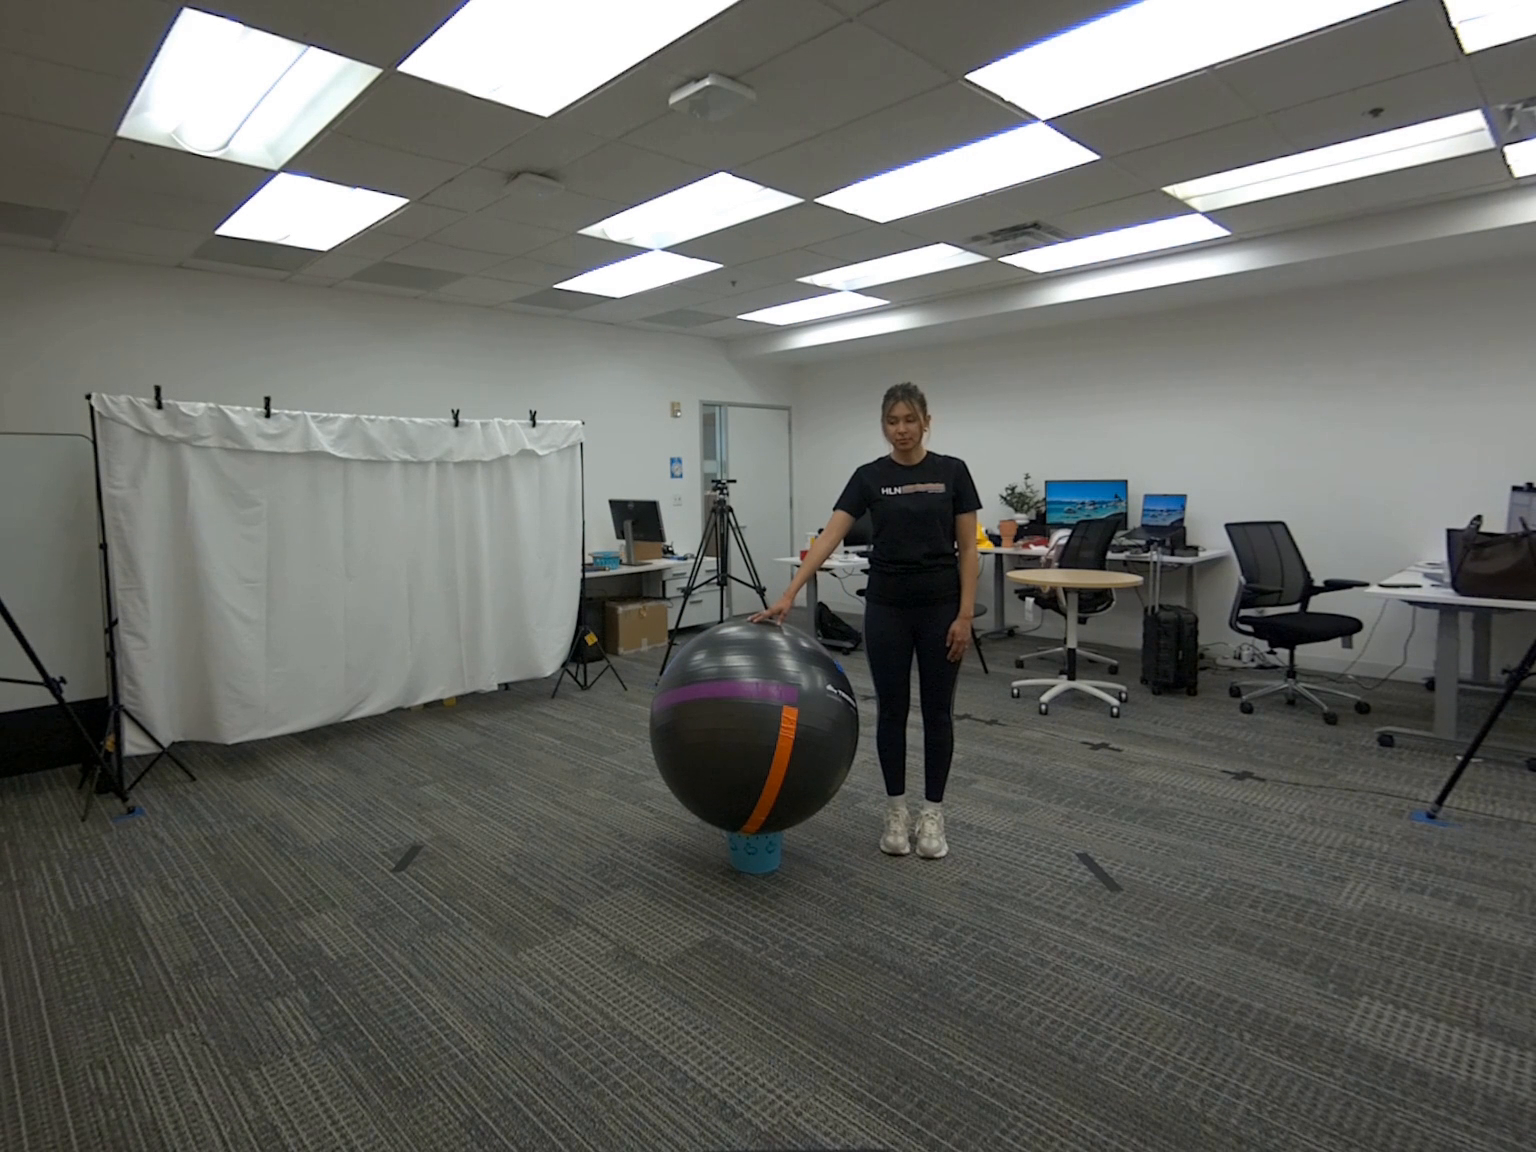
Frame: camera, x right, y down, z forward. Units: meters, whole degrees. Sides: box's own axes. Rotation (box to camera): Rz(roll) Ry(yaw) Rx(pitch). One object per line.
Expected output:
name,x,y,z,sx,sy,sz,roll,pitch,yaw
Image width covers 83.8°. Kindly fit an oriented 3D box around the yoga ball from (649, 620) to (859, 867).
yoga ball,-0.050,0.539,3.104,0.757,0.755,0.762,-1,5,-2
